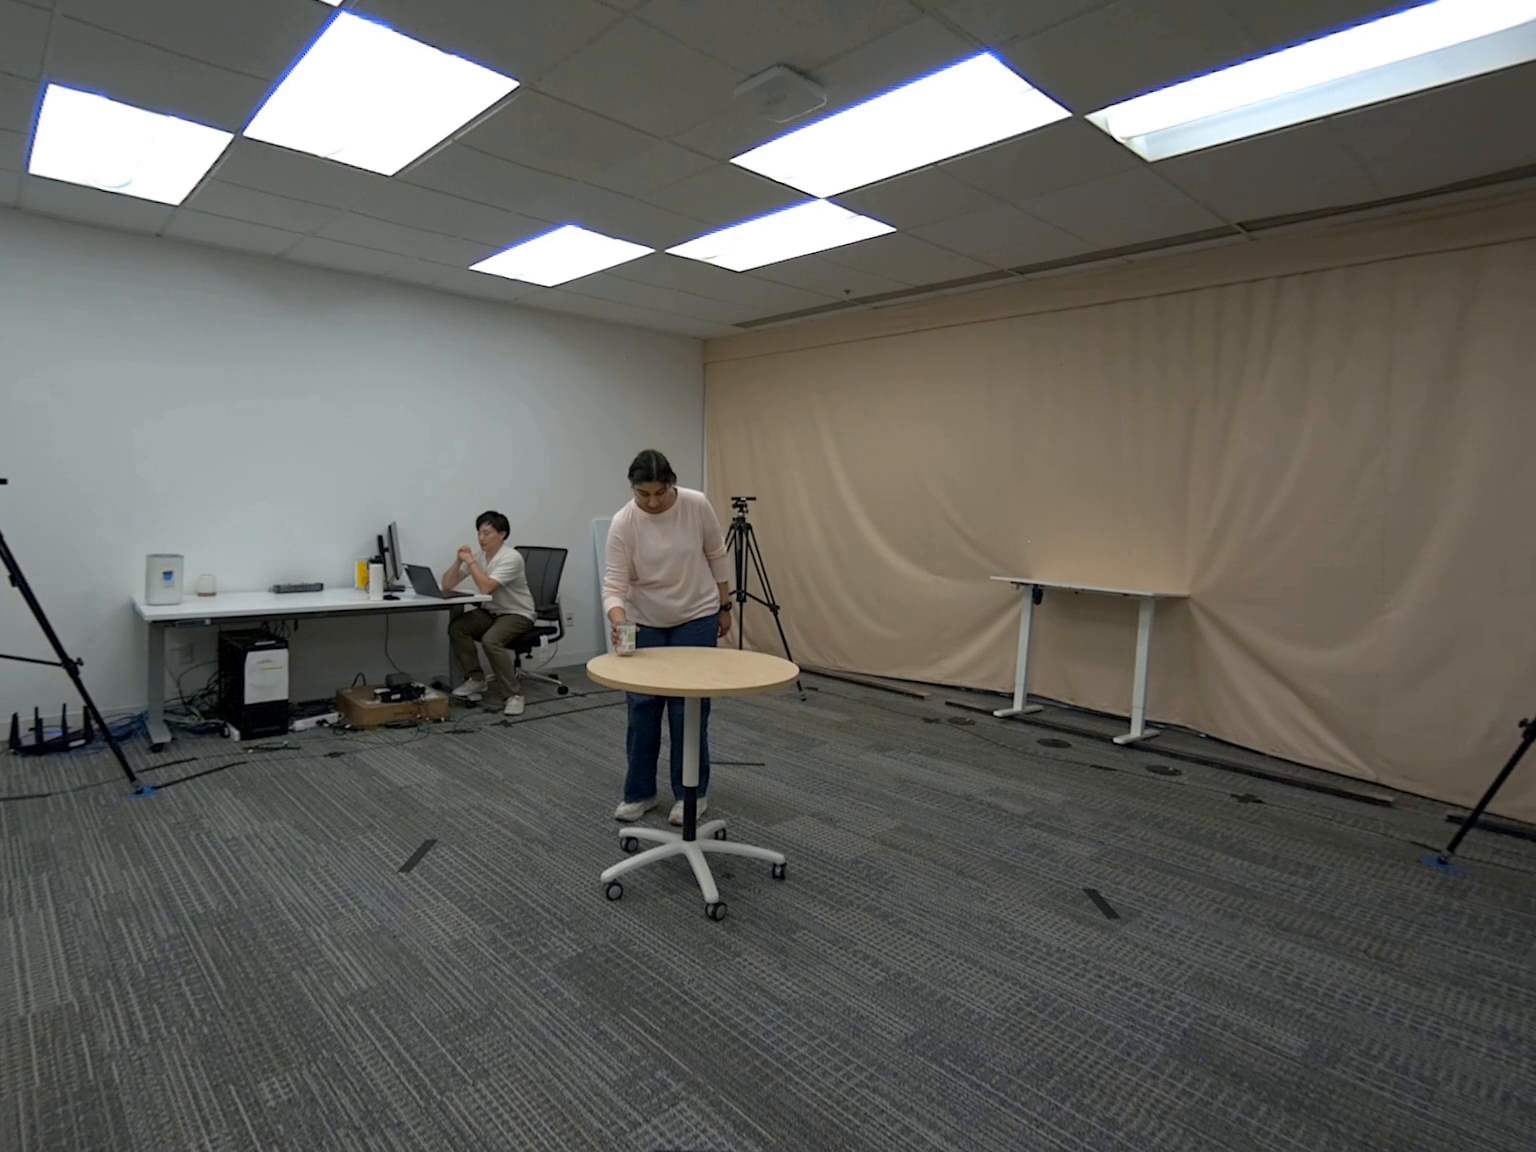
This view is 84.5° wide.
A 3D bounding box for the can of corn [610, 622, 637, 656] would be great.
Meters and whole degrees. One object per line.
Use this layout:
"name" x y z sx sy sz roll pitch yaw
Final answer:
"can of corn" -0.564 0.235 3.193 0.074 0.111 0.074 3 3 -2
